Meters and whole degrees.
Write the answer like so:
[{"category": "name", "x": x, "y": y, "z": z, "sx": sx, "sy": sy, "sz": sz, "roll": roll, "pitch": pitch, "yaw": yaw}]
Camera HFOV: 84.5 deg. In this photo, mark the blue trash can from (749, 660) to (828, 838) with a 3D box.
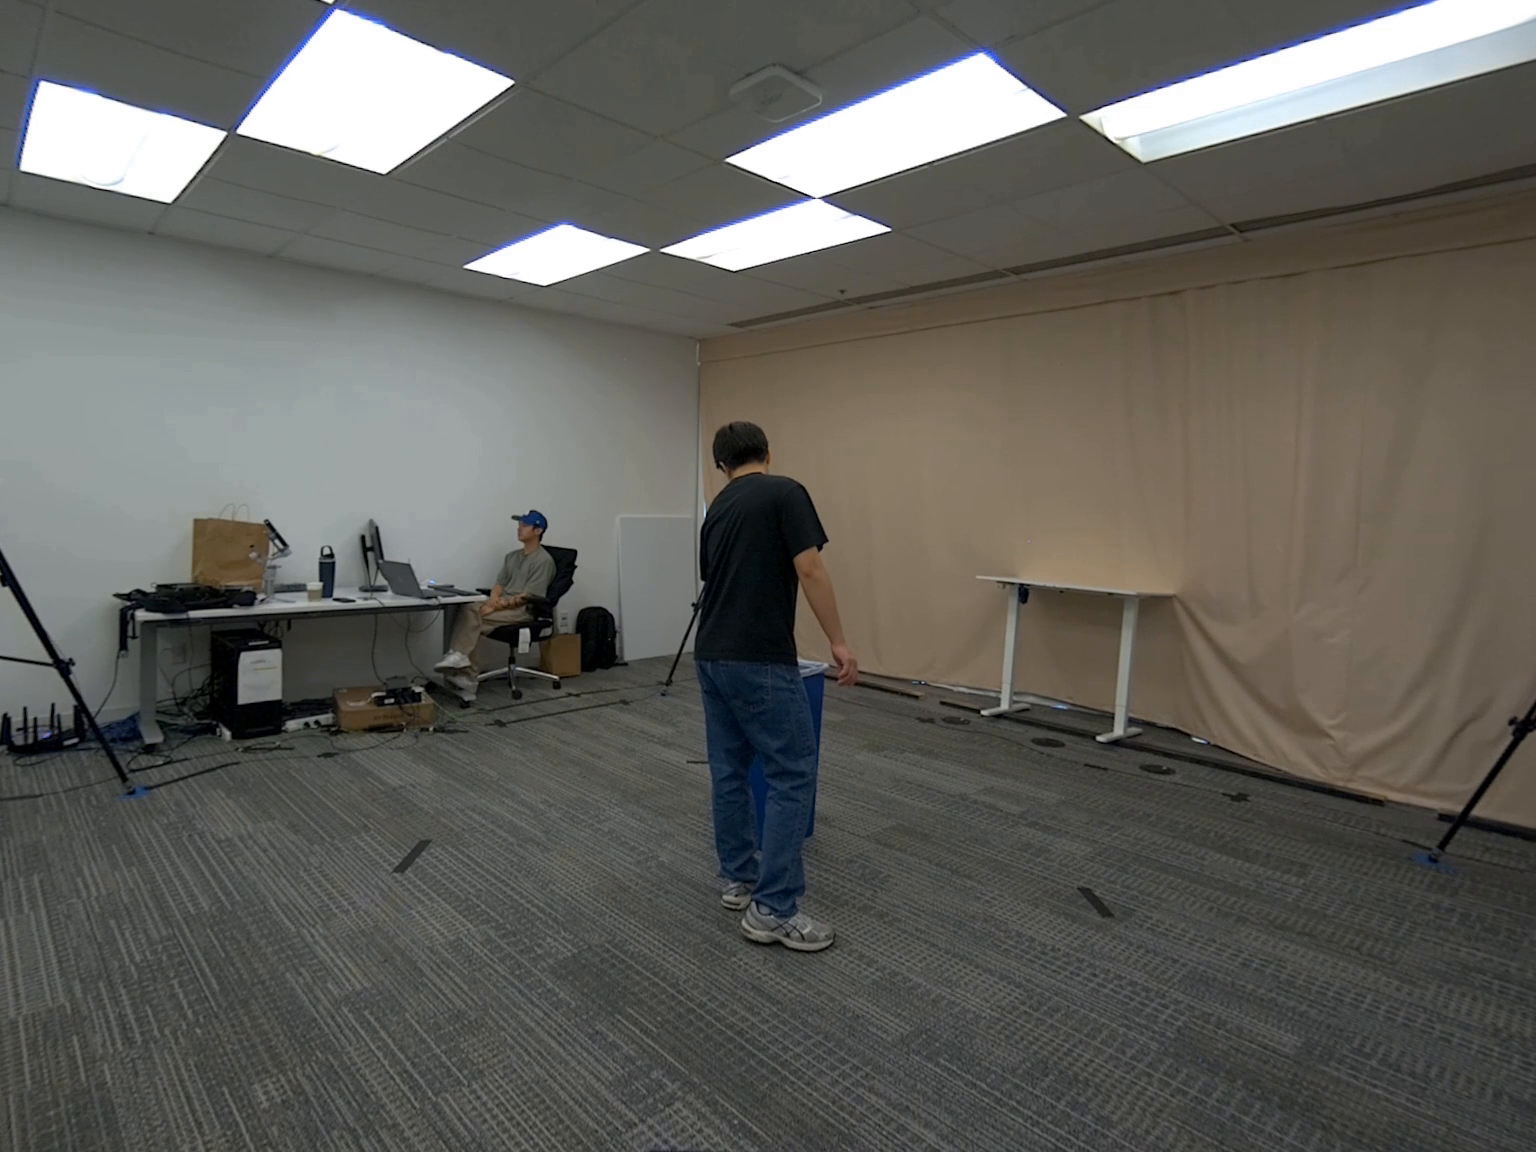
[{"category": "blue trash can", "x": -0.003, "y": 0.722, "z": 3.507, "sx": 0.388, "sy": 0.712, "sz": 0.365, "roll": 5, "pitch": 5, "yaw": 41}]
